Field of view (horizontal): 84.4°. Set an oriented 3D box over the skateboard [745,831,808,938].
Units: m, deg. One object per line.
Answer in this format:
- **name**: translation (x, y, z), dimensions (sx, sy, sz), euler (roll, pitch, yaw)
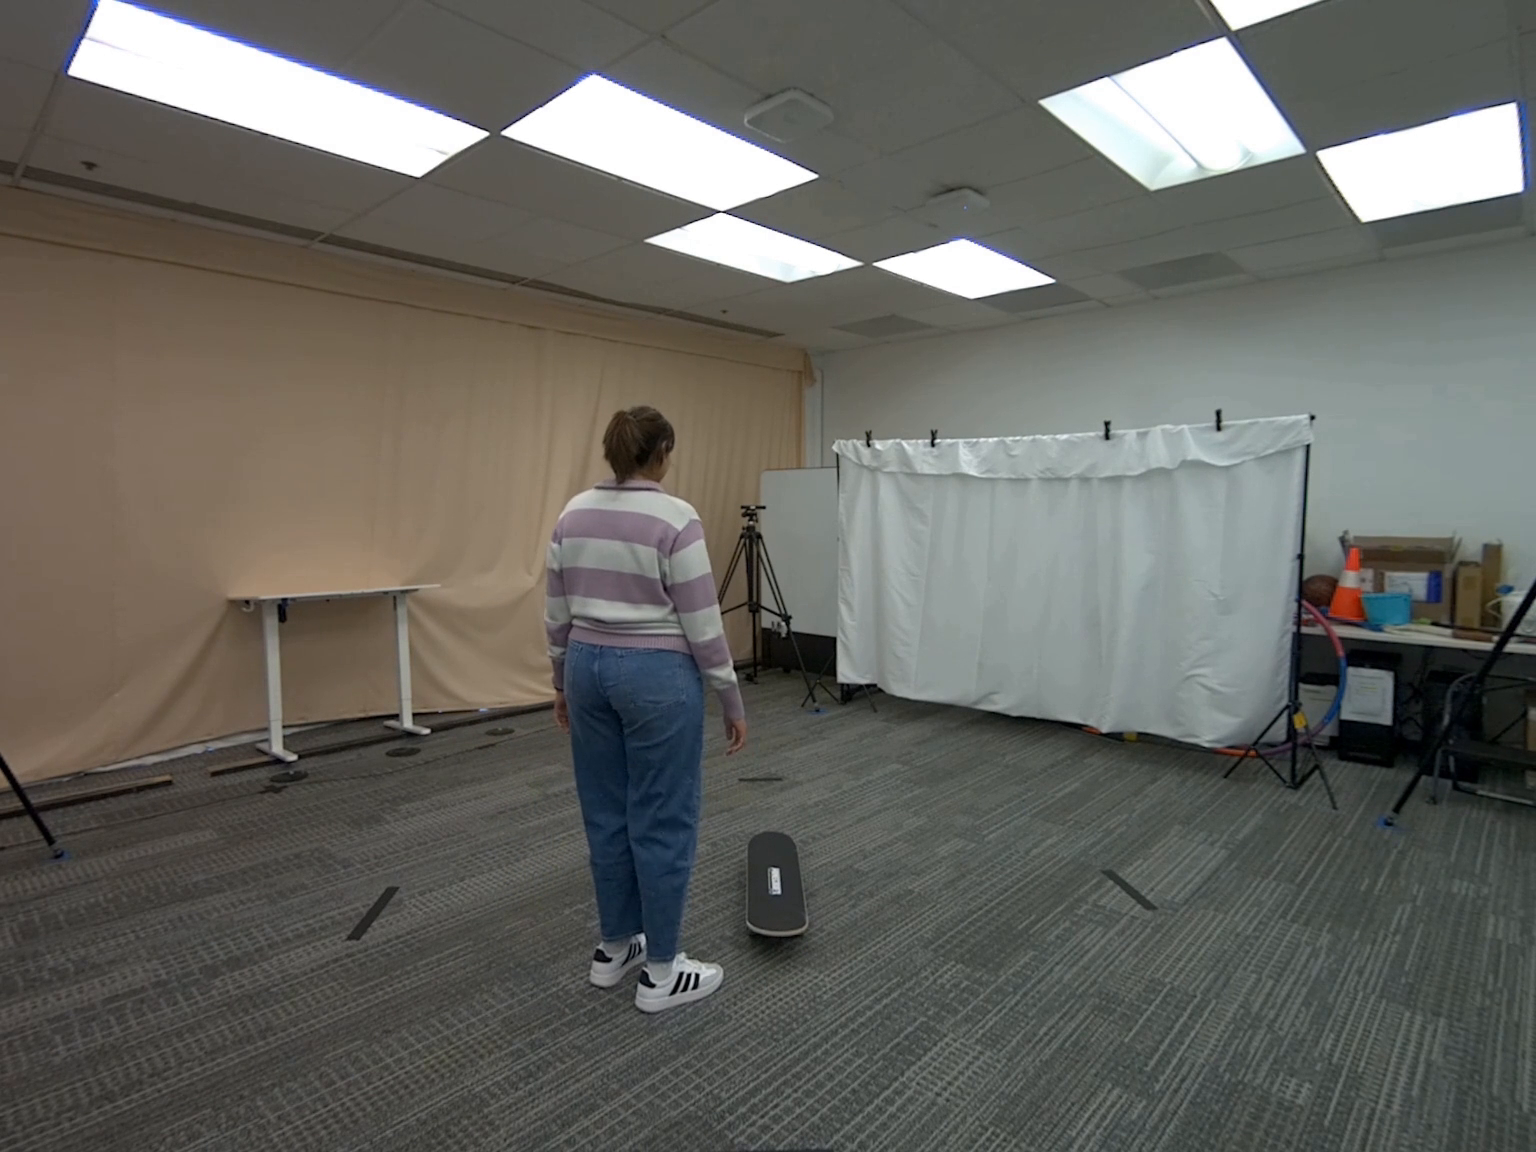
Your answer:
- **skateboard**: translation (0.025, 1.087, 2.927), dimensions (0.194, 0.110, 0.786), euler (0, 5, 0)
